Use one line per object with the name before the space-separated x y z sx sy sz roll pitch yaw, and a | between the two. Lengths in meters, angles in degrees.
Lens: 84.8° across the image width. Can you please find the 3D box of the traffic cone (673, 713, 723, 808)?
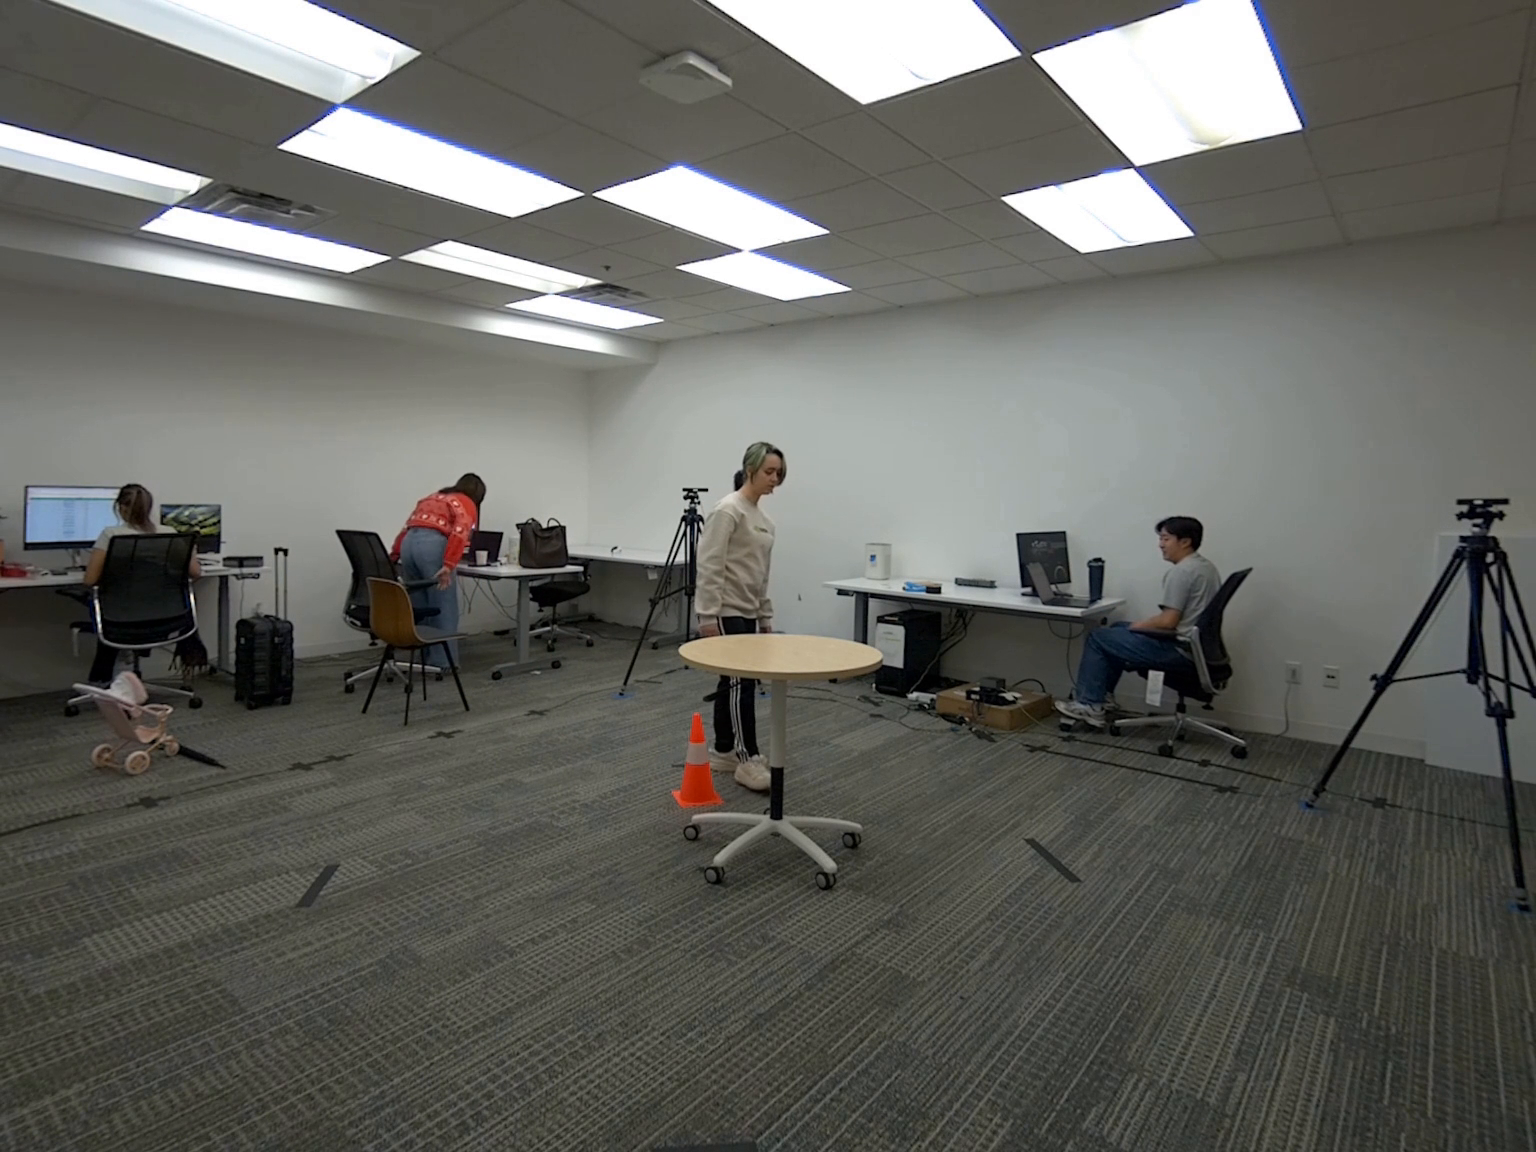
traffic cone | -0.333 0.814 3.843 0.200 0.383 0.209 1 2 -18
